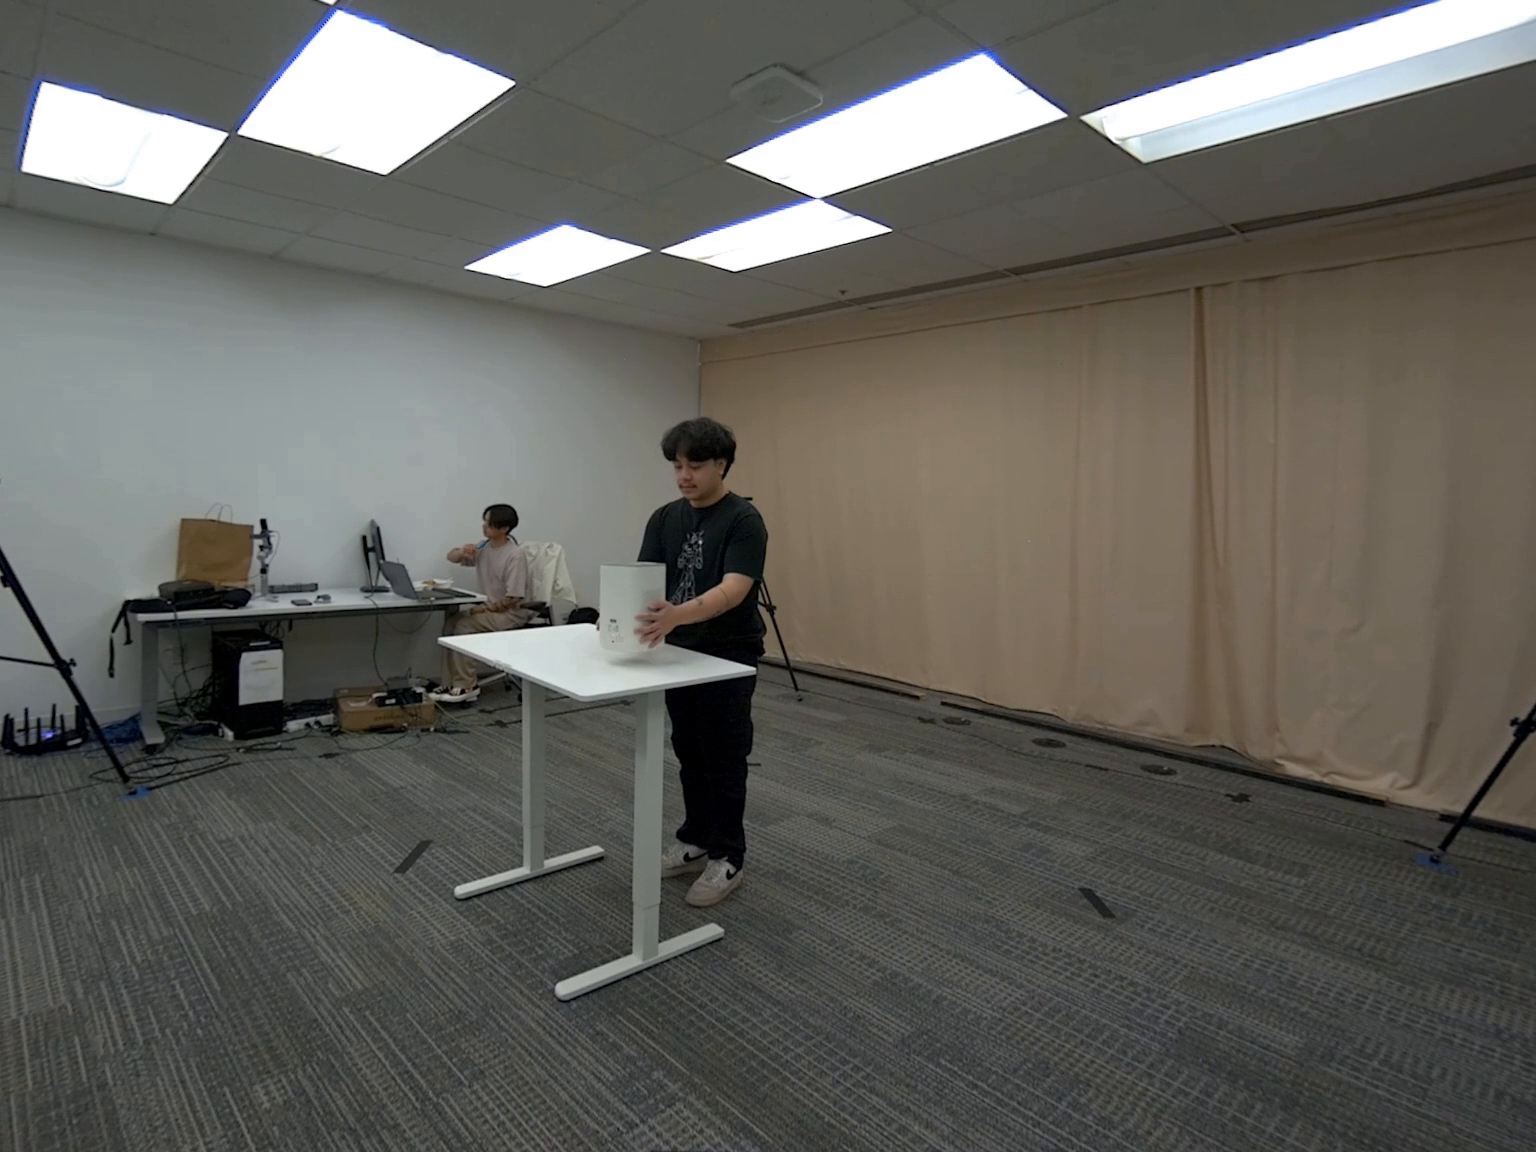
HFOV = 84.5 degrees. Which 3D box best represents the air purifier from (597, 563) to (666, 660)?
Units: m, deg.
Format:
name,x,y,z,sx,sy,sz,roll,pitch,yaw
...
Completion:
name,x,y,z,sx,sy,sz,roll,pitch,yaw
air purifier,-0.428,0.095,2.574,0.175,0.265,0.168,1,2,35
